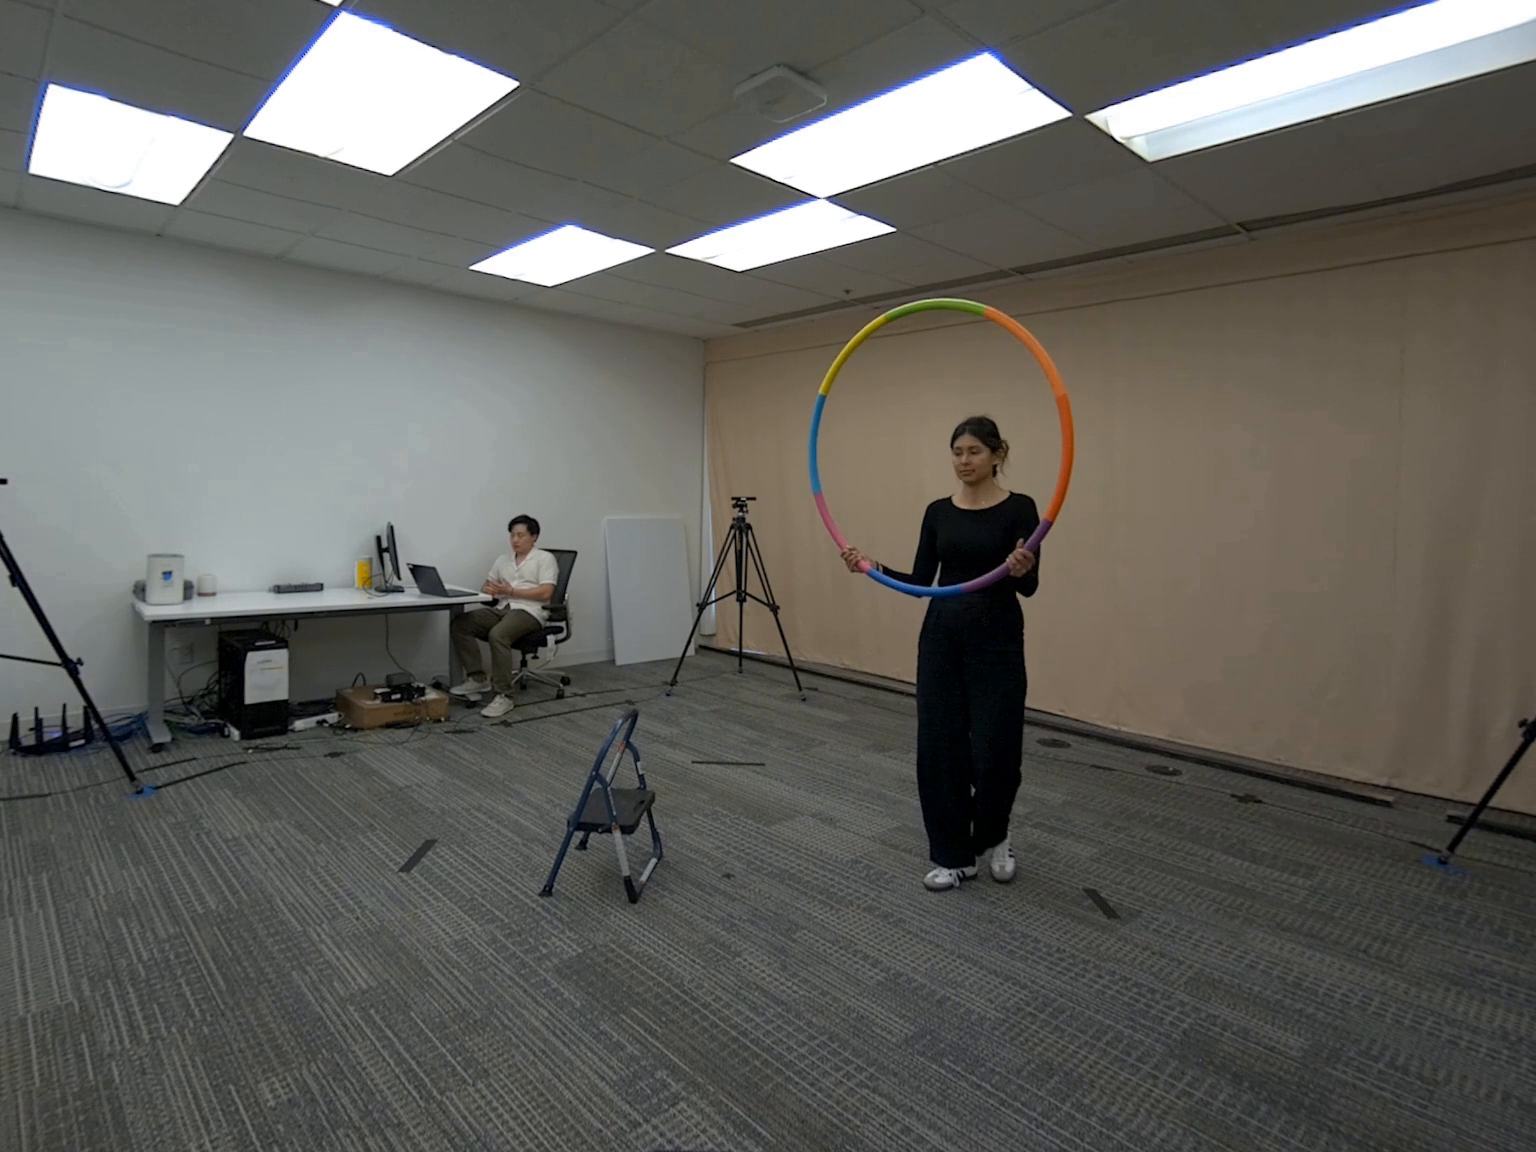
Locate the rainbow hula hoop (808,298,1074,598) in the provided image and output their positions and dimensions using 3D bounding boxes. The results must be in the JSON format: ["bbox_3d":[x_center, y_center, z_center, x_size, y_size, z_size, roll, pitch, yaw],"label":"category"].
[{"bbox_3d":[0.524,-0.416,2.811,1.004,0.974,0.035,5,8,43],"label":"rainbow hula hoop"}]
